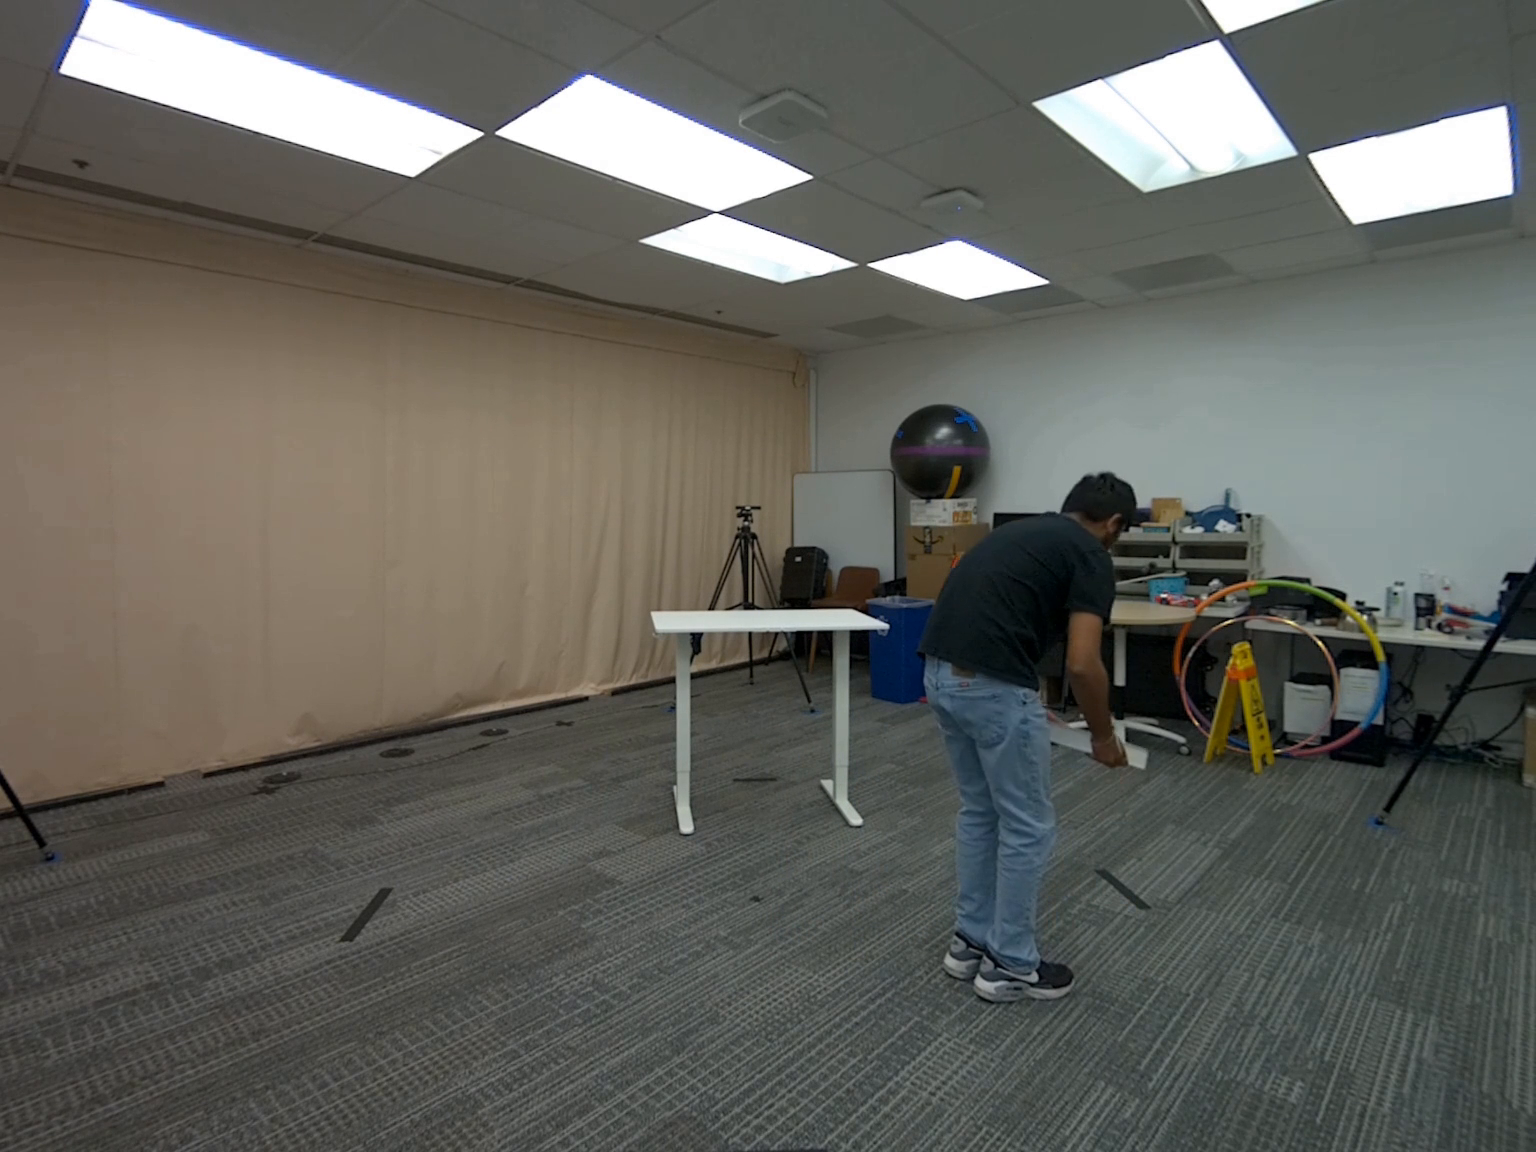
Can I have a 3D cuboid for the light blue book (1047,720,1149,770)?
[{"bbox_3d":[0.982,0.516,2.519,0.187,0.059,0.266,19,-6,-20],"label":"light blue book"}]
